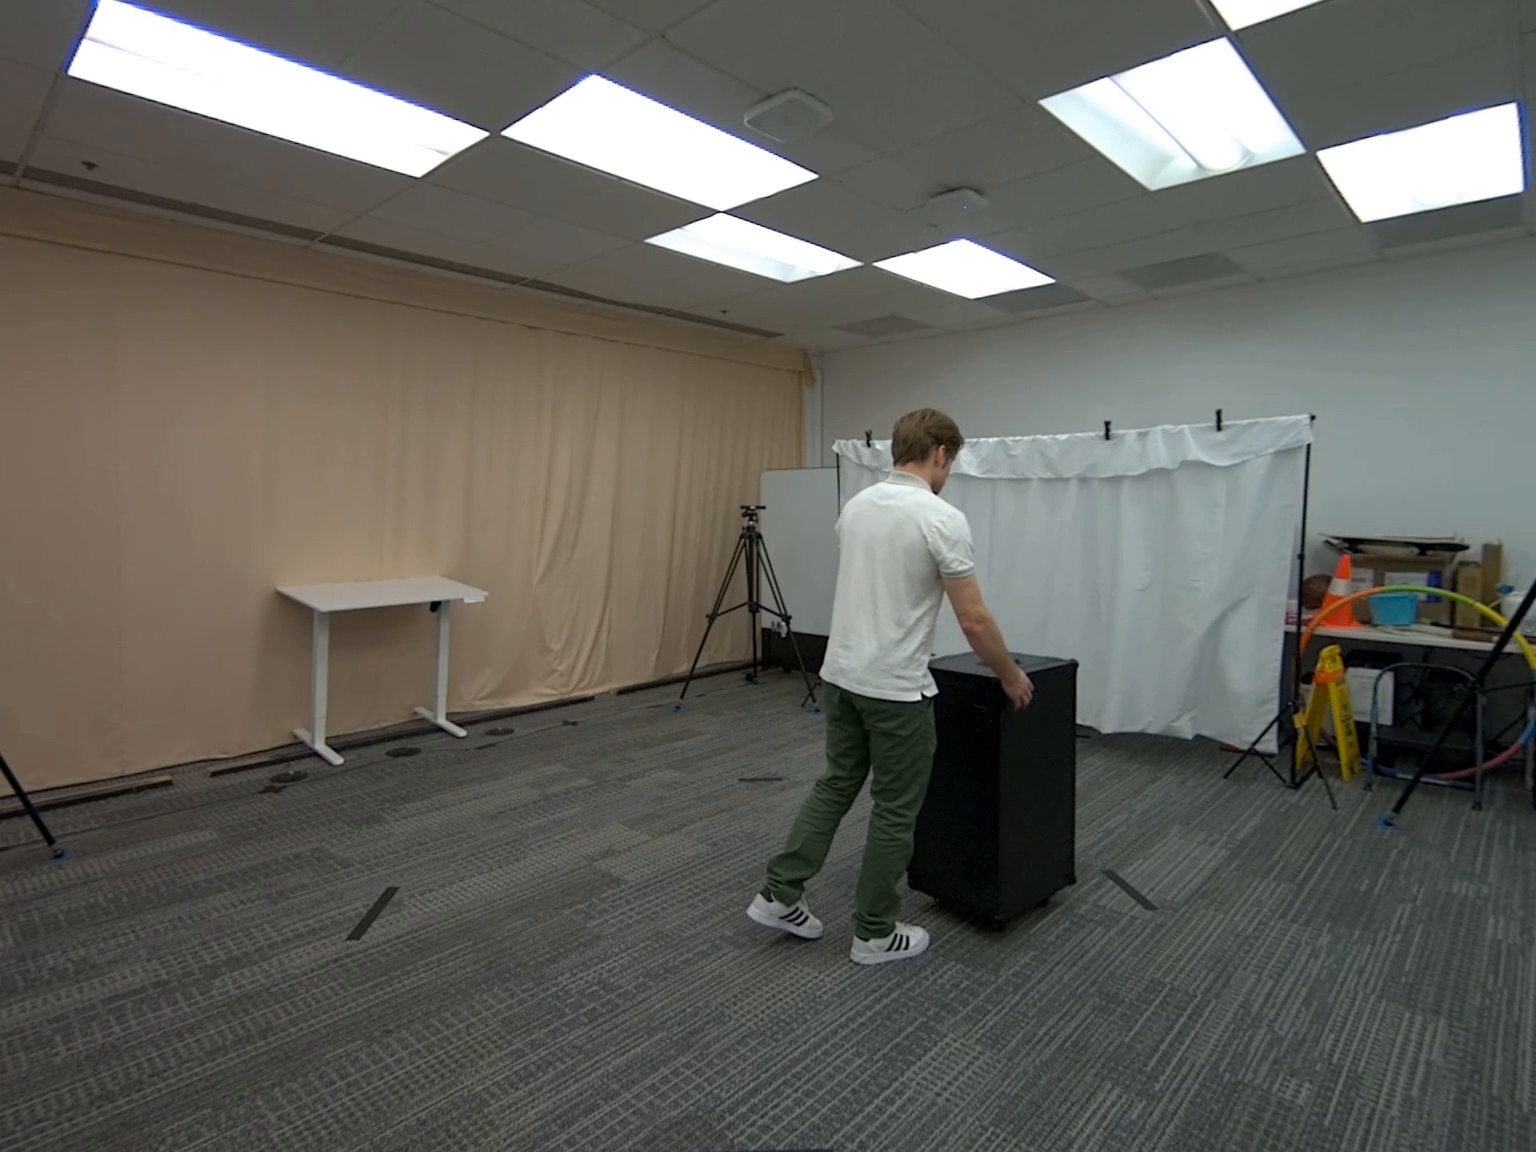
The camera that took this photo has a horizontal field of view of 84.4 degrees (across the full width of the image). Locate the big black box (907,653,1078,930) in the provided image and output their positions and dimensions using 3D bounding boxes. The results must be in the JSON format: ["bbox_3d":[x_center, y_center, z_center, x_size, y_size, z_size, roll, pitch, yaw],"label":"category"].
[{"bbox_3d":[0.780,0.728,2.915,0.507,0.867,0.398,-2,3,-41],"label":"big black box"}]
